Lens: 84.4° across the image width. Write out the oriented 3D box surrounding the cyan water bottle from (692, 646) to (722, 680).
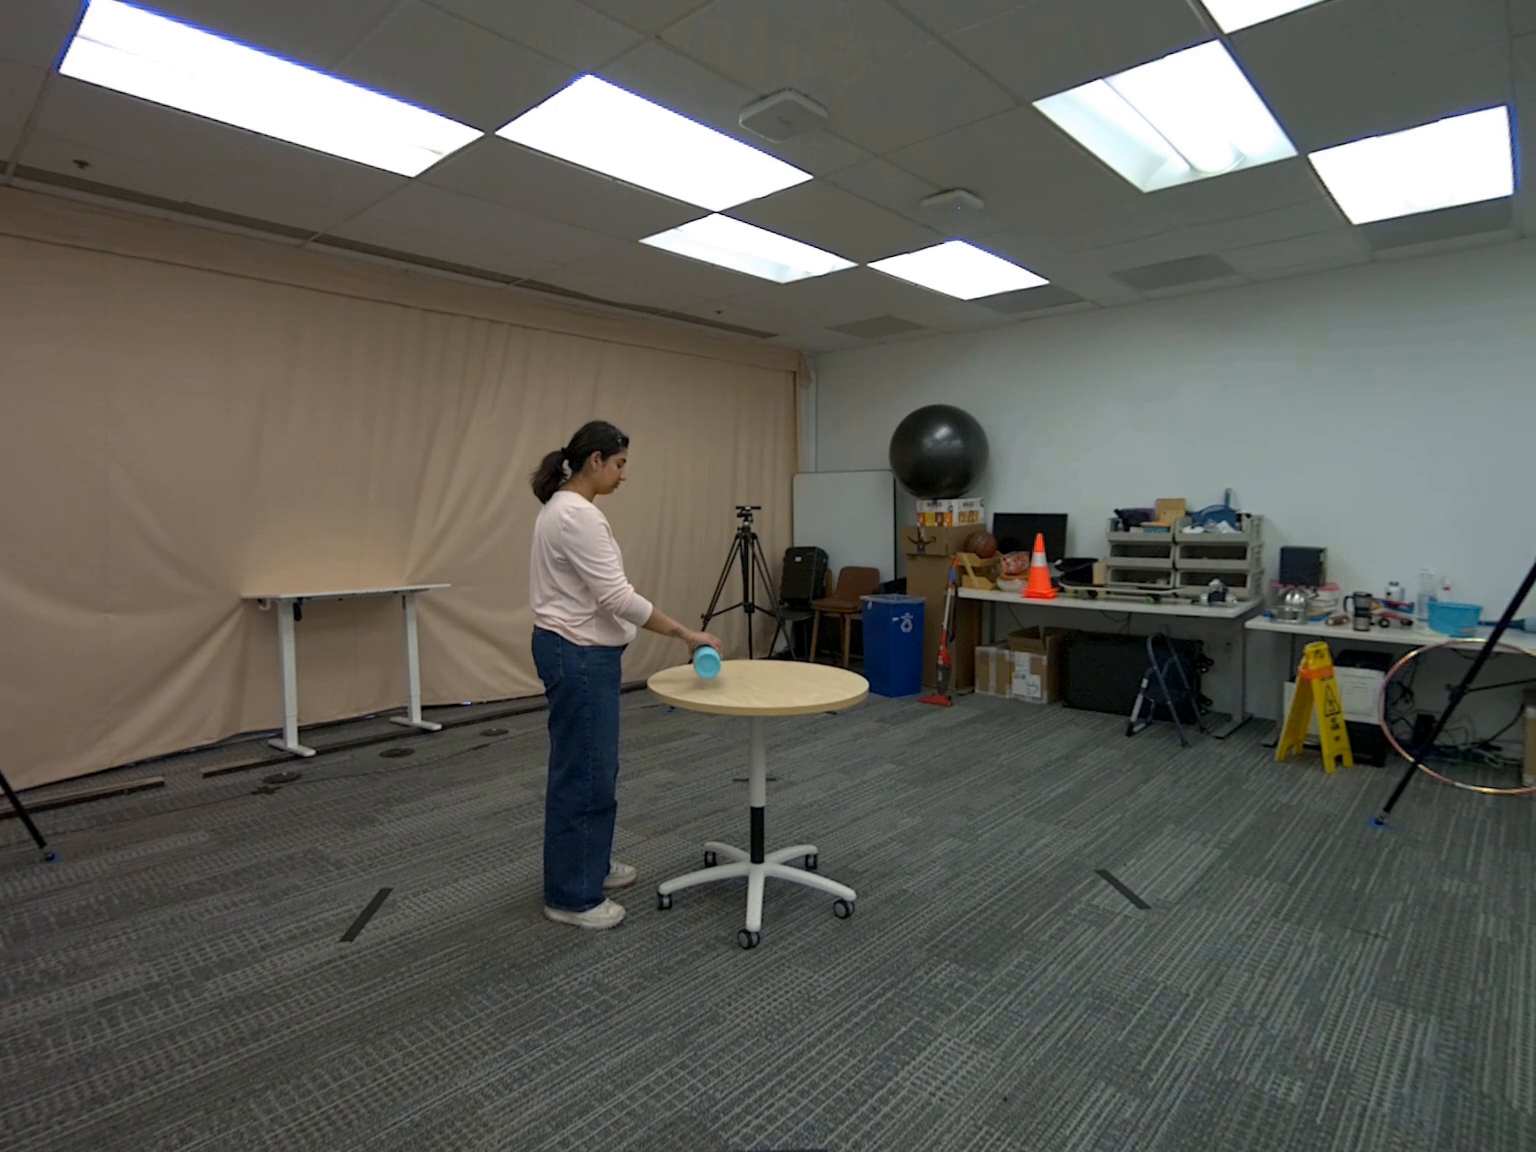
[{"bbox_3d":[-0.208,0.270,2.882,0.092,0.092,0.286,-1,9,-7],"label":"cyan water bottle"}]
